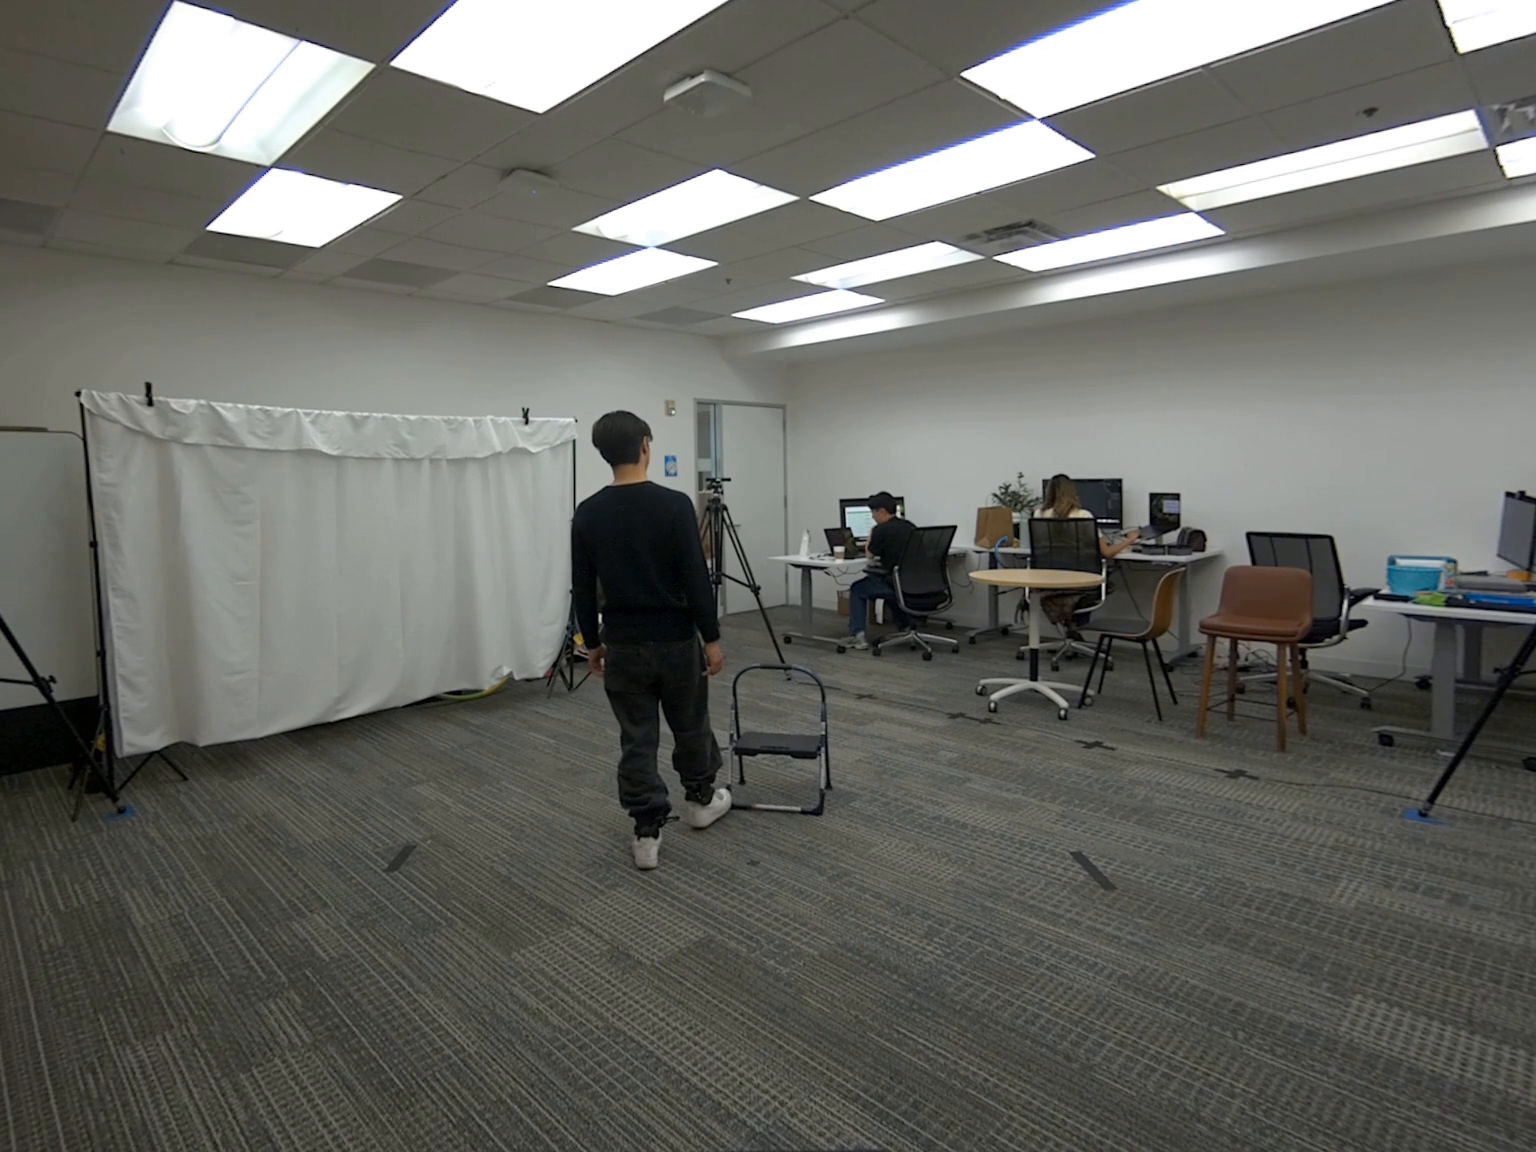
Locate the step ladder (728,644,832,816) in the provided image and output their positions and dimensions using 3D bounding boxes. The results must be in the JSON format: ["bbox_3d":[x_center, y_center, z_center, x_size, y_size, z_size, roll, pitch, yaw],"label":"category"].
[{"bbox_3d":[0.047,0.670,3.717,0.435,0.604,0.347,-1,4,10],"label":"step ladder"}]
